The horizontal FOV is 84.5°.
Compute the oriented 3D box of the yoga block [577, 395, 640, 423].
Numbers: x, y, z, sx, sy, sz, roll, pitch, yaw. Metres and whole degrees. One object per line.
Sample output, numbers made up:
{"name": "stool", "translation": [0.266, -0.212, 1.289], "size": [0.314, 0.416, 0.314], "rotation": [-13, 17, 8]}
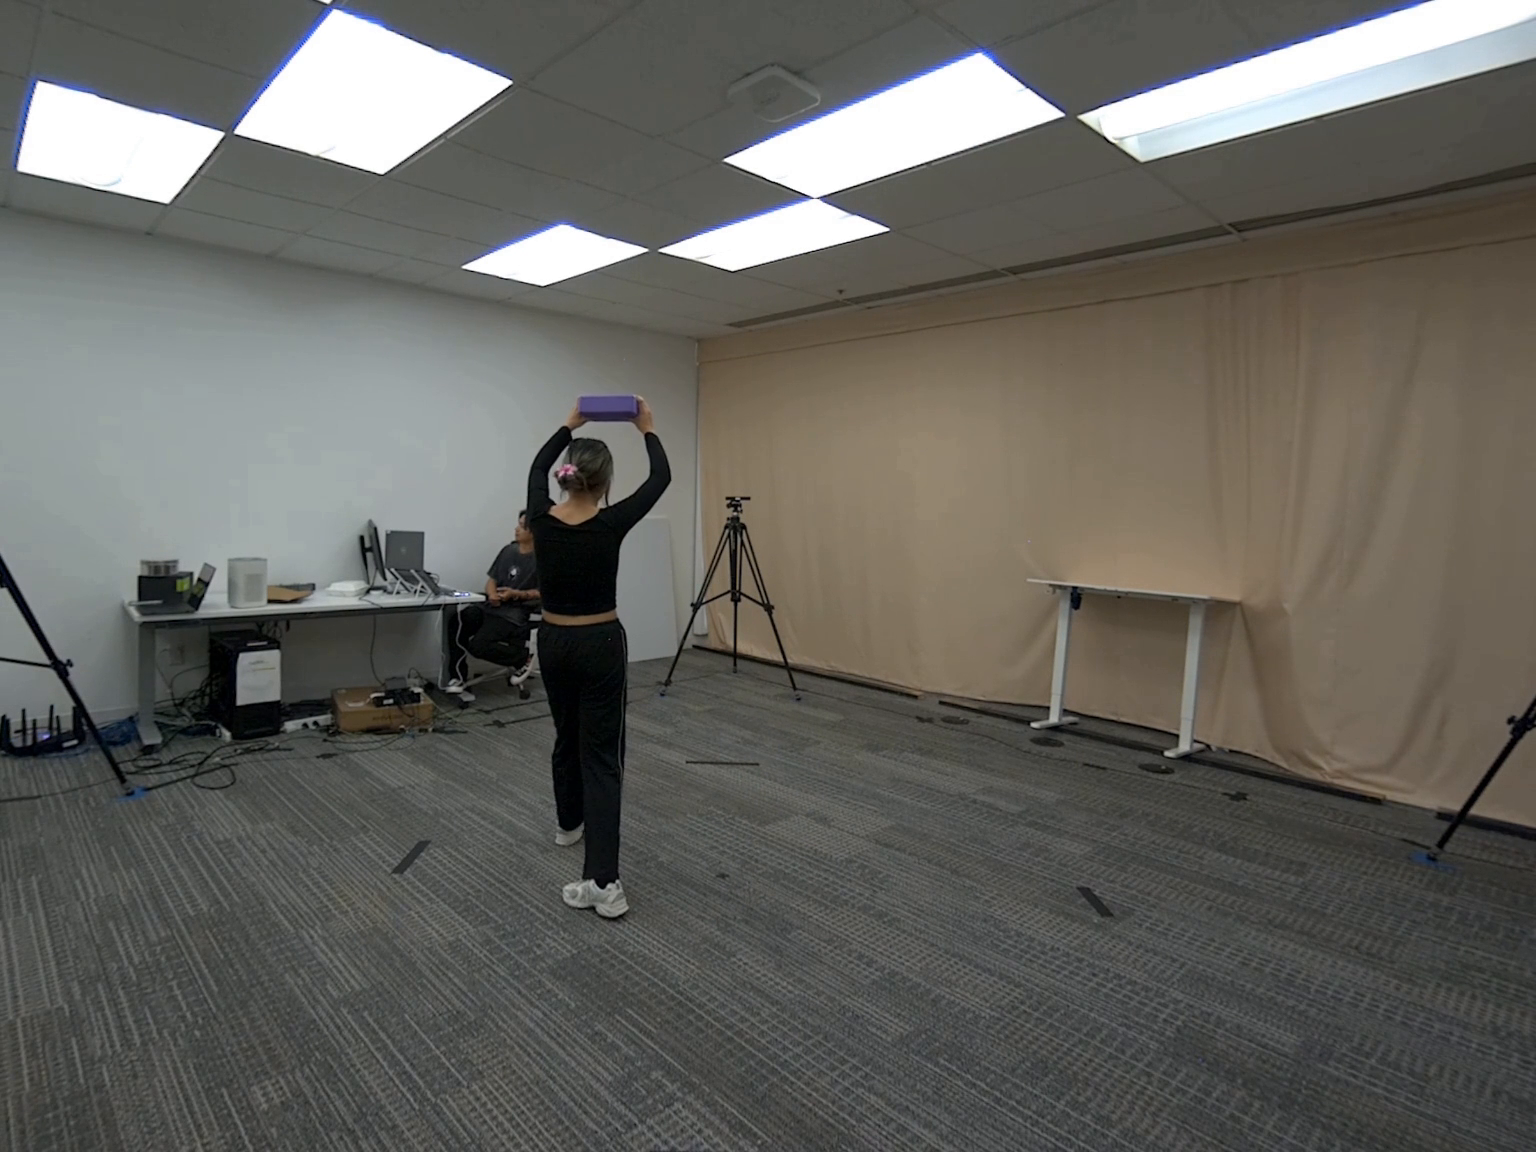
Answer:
{"name": "yoga block", "translation": [-0.625, -0.659, 3.301], "size": [0.232, 0.076, 0.147], "rotation": [2, -2, 15]}
